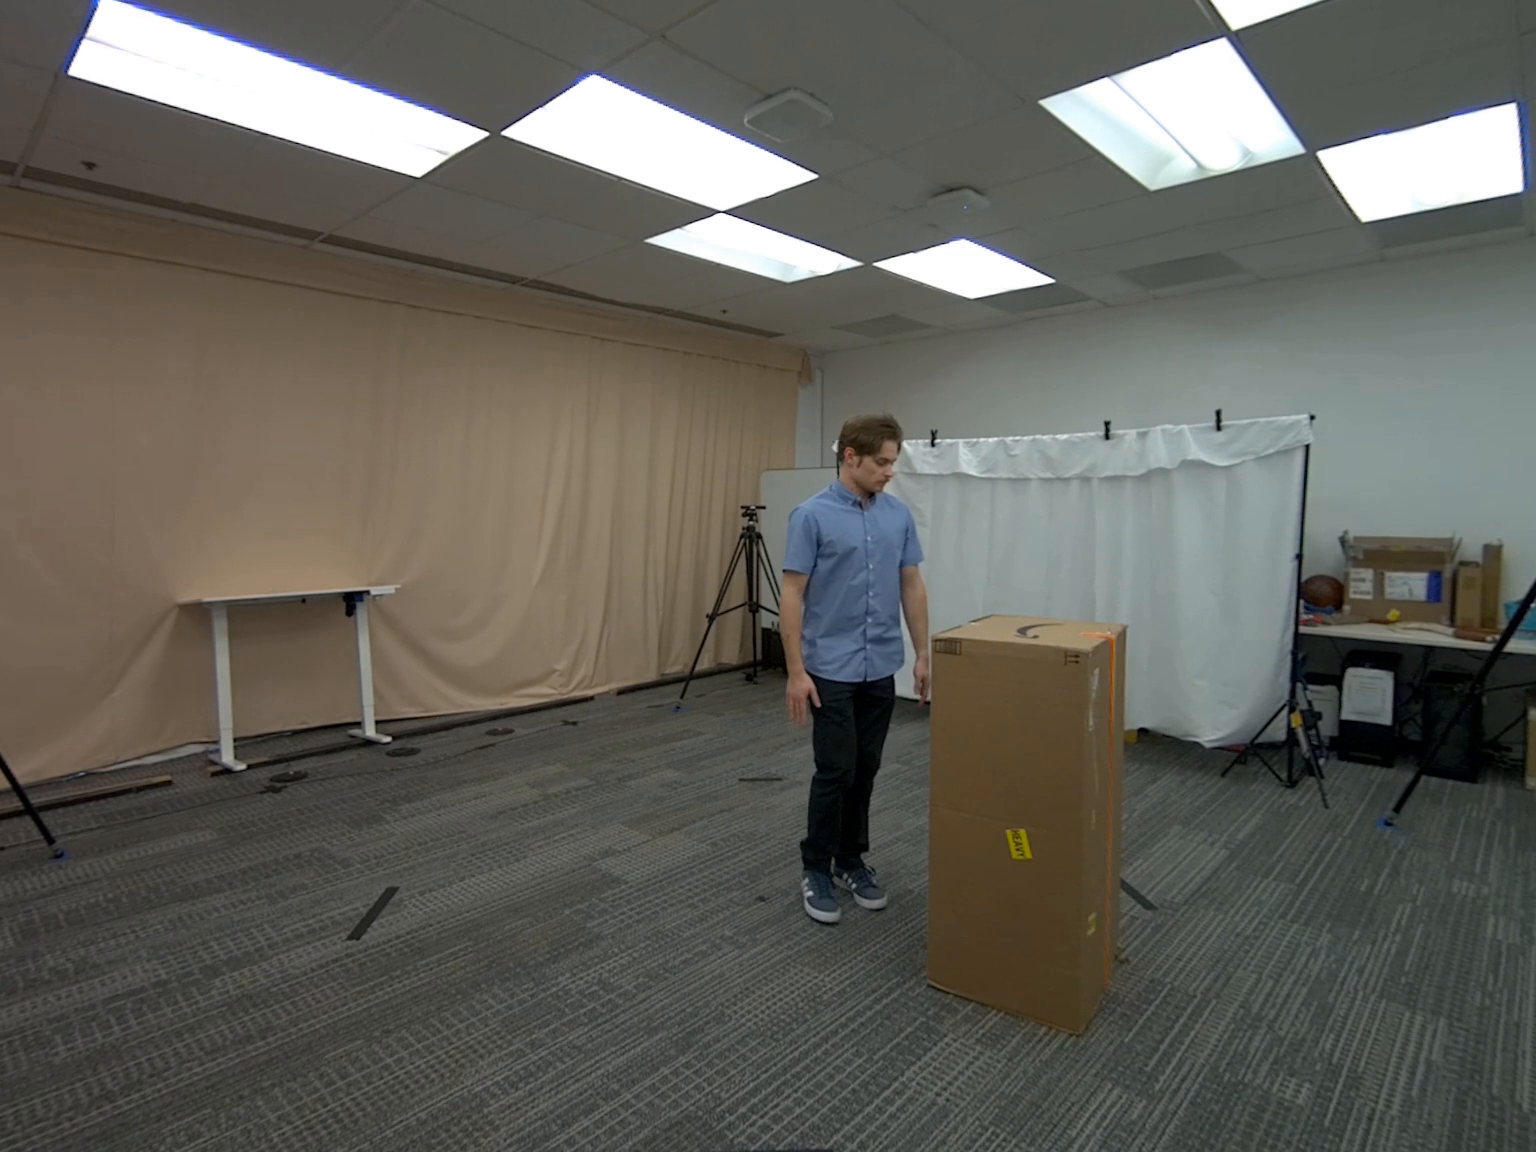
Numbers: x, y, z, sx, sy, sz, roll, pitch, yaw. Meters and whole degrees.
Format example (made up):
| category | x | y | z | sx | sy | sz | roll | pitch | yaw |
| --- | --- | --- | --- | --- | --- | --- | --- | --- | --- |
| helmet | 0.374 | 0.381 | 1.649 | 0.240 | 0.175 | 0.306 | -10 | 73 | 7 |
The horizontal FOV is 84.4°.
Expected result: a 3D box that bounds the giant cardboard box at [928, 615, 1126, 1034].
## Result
| category | x | y | z | sx | sy | sz | roll | pitch | yaw |
| --- | --- | --- | --- | --- | --- | --- | --- | --- | --- |
| giant cardboard box | 0.802 | 0.672 | 2.523 | 0.439 | 1.024 | 0.561 | 2 | 4 | 34 |
